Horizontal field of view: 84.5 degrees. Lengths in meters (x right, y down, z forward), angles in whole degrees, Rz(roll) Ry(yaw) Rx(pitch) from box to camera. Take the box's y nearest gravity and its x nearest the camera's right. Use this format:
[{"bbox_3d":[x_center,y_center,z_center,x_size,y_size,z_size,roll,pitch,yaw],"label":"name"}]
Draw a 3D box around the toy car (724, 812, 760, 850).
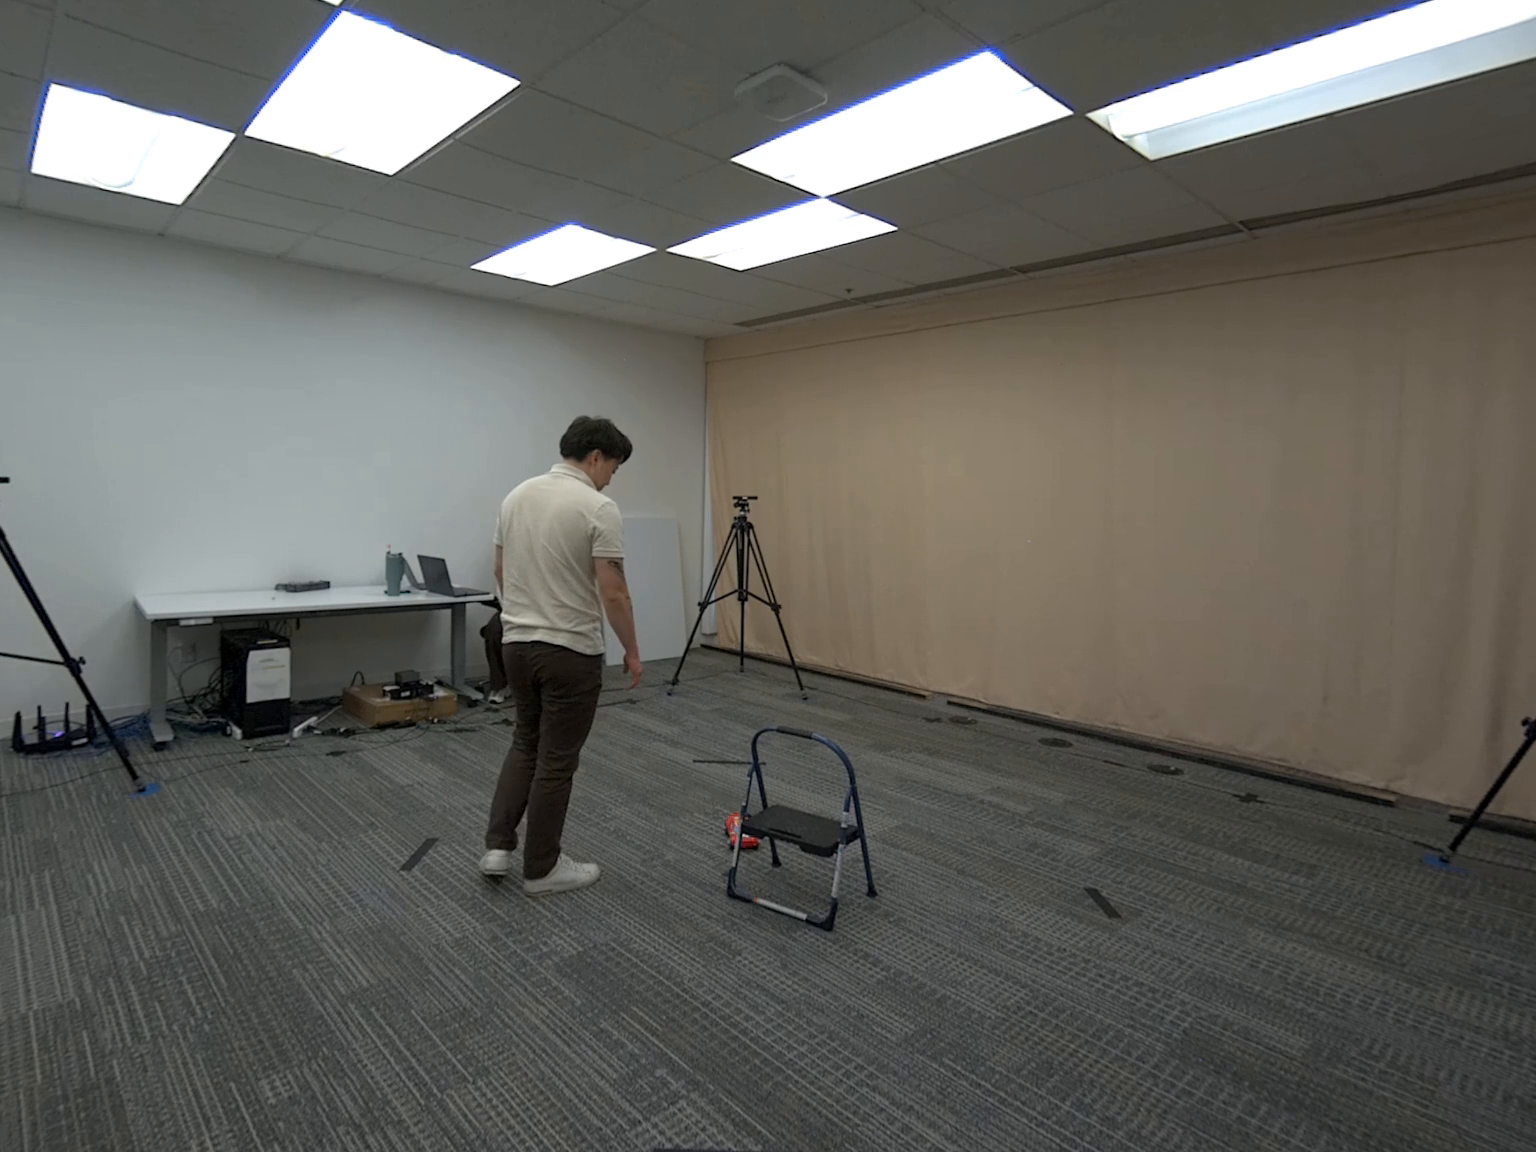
[{"bbox_3d":[-0.123,1.047,3.441,0.129,0.082,0.259,1,15,-10],"label":"toy car"}]
